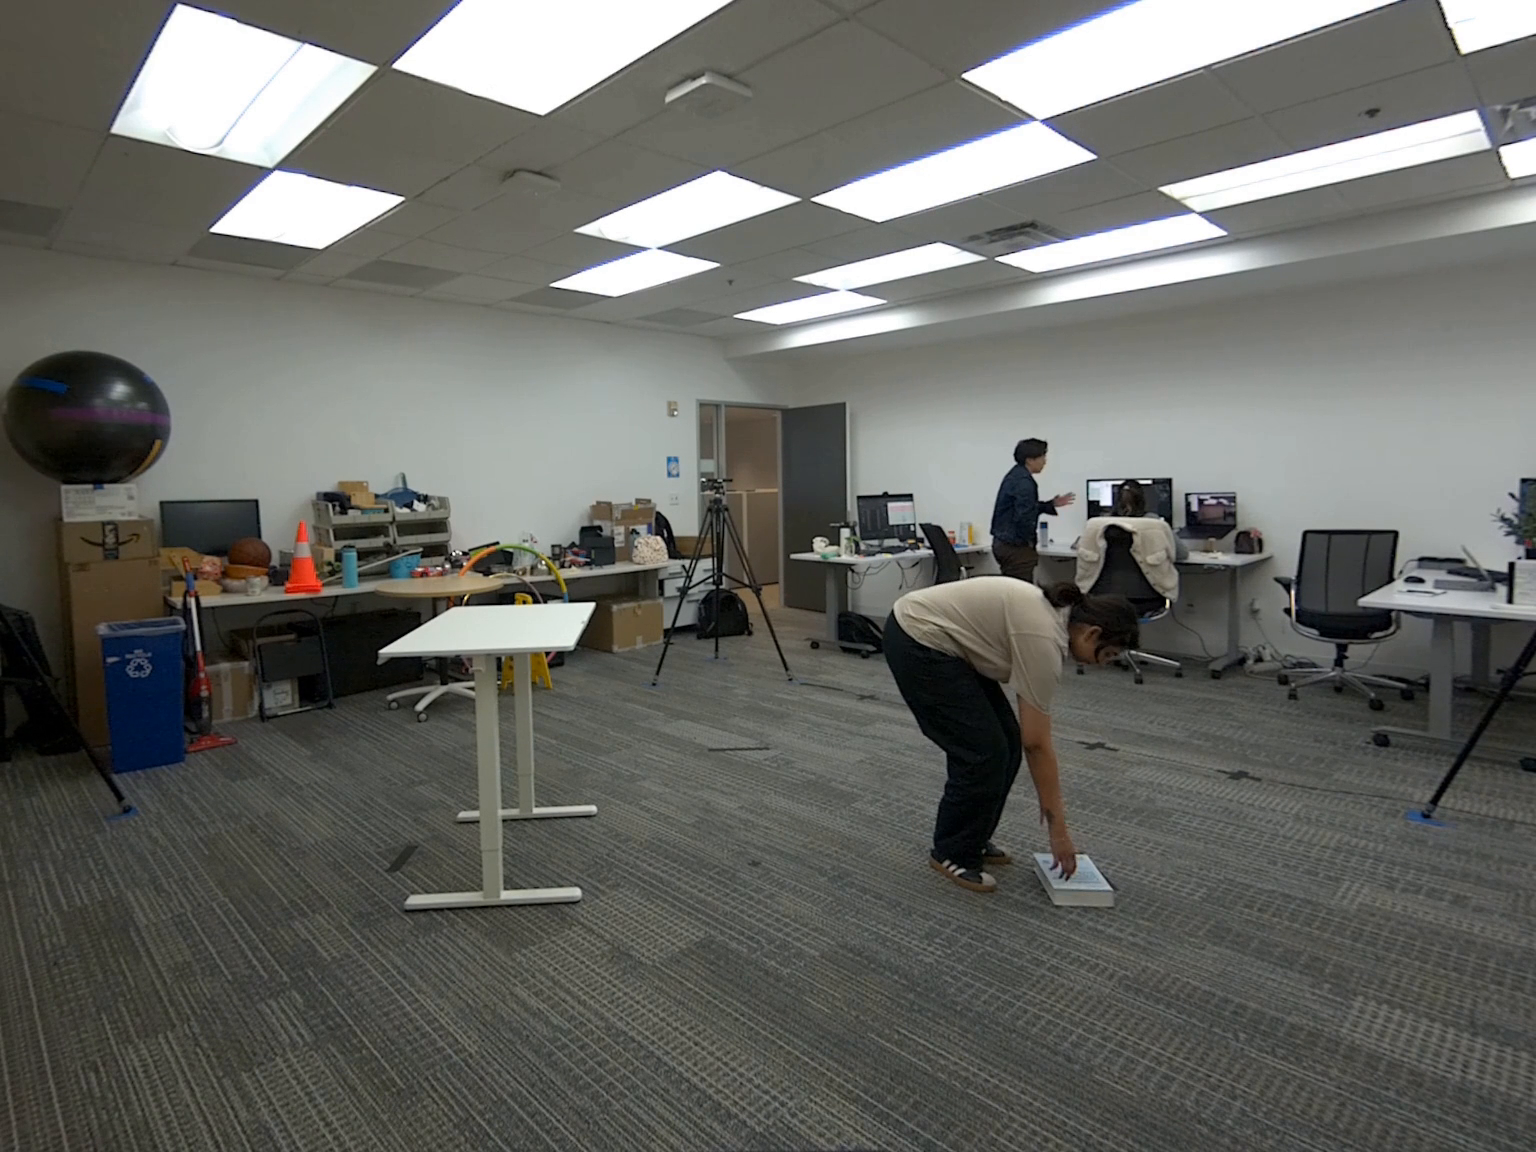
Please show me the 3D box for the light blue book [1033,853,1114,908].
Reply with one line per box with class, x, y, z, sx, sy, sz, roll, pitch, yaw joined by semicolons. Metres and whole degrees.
light blue book;1.012;1.018;2.878;0.192;0.059;0.261;-1;6;3
